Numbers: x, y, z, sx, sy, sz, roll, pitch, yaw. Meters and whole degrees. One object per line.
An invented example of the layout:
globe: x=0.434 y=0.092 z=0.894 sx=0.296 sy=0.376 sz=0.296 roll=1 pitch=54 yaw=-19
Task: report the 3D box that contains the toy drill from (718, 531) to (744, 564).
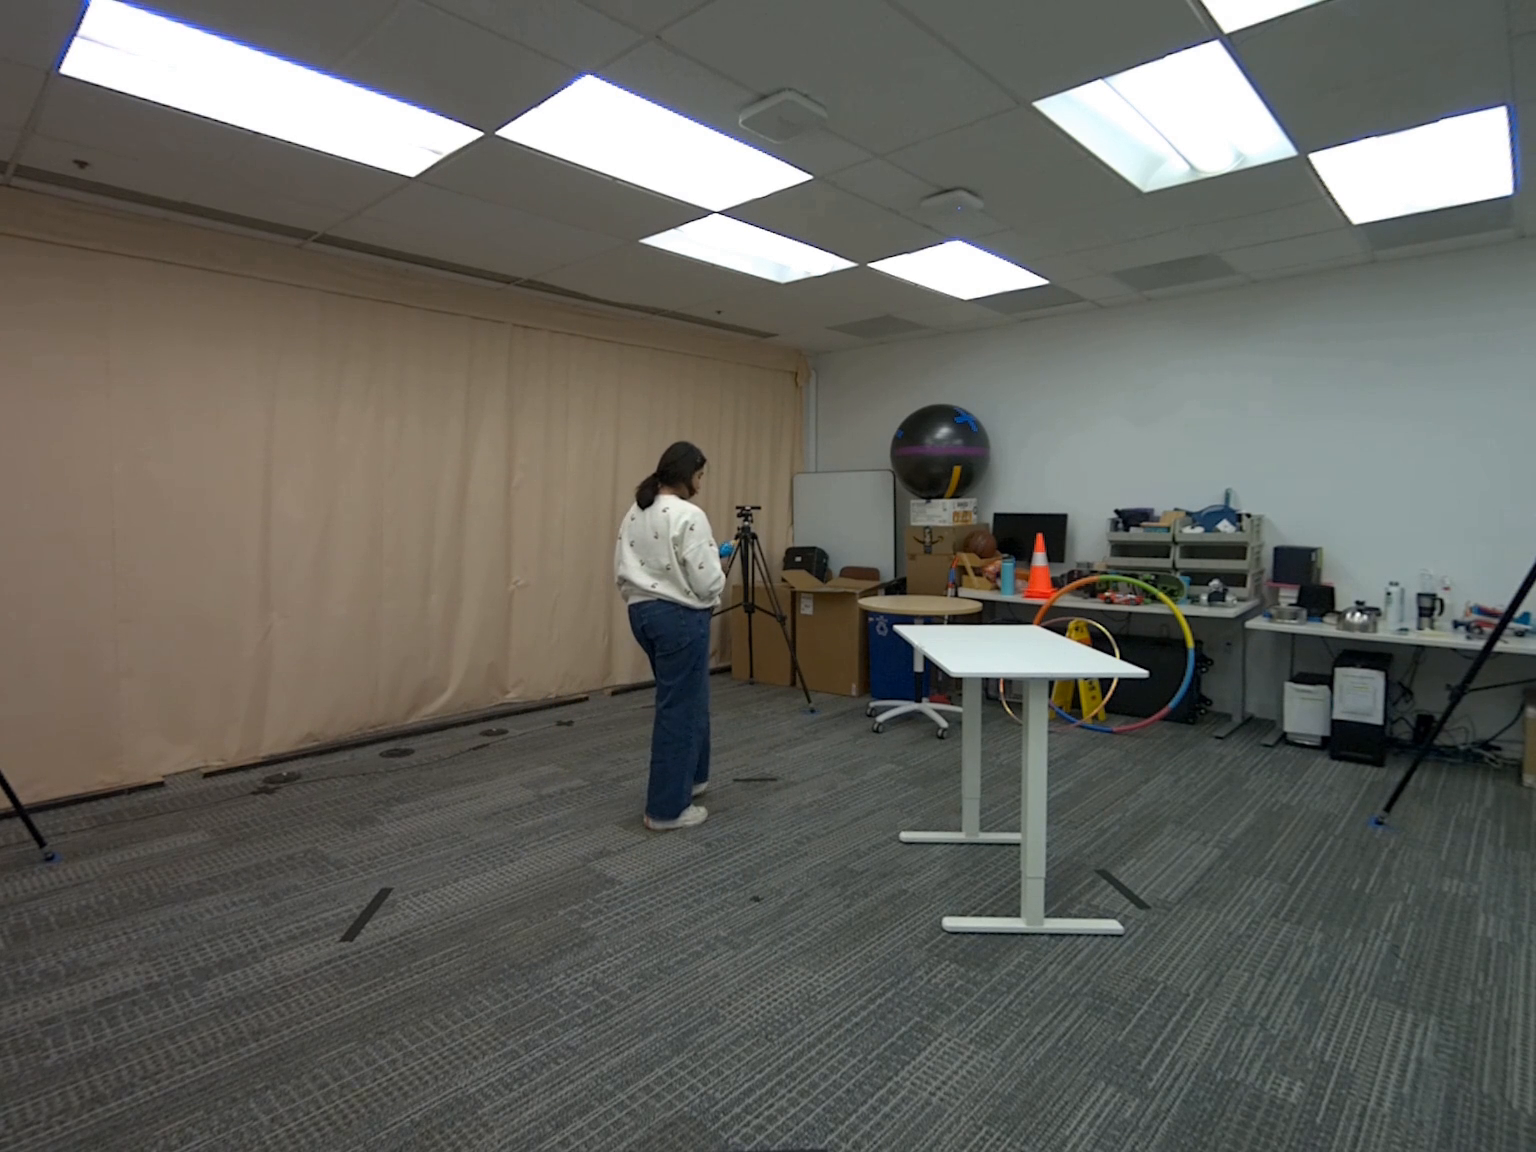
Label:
toy drill: x=-0.205 y=-0.107 z=3.815 sx=0.147 sy=0.061 sz=0.169 roll=-41 pitch=8 yaw=28
